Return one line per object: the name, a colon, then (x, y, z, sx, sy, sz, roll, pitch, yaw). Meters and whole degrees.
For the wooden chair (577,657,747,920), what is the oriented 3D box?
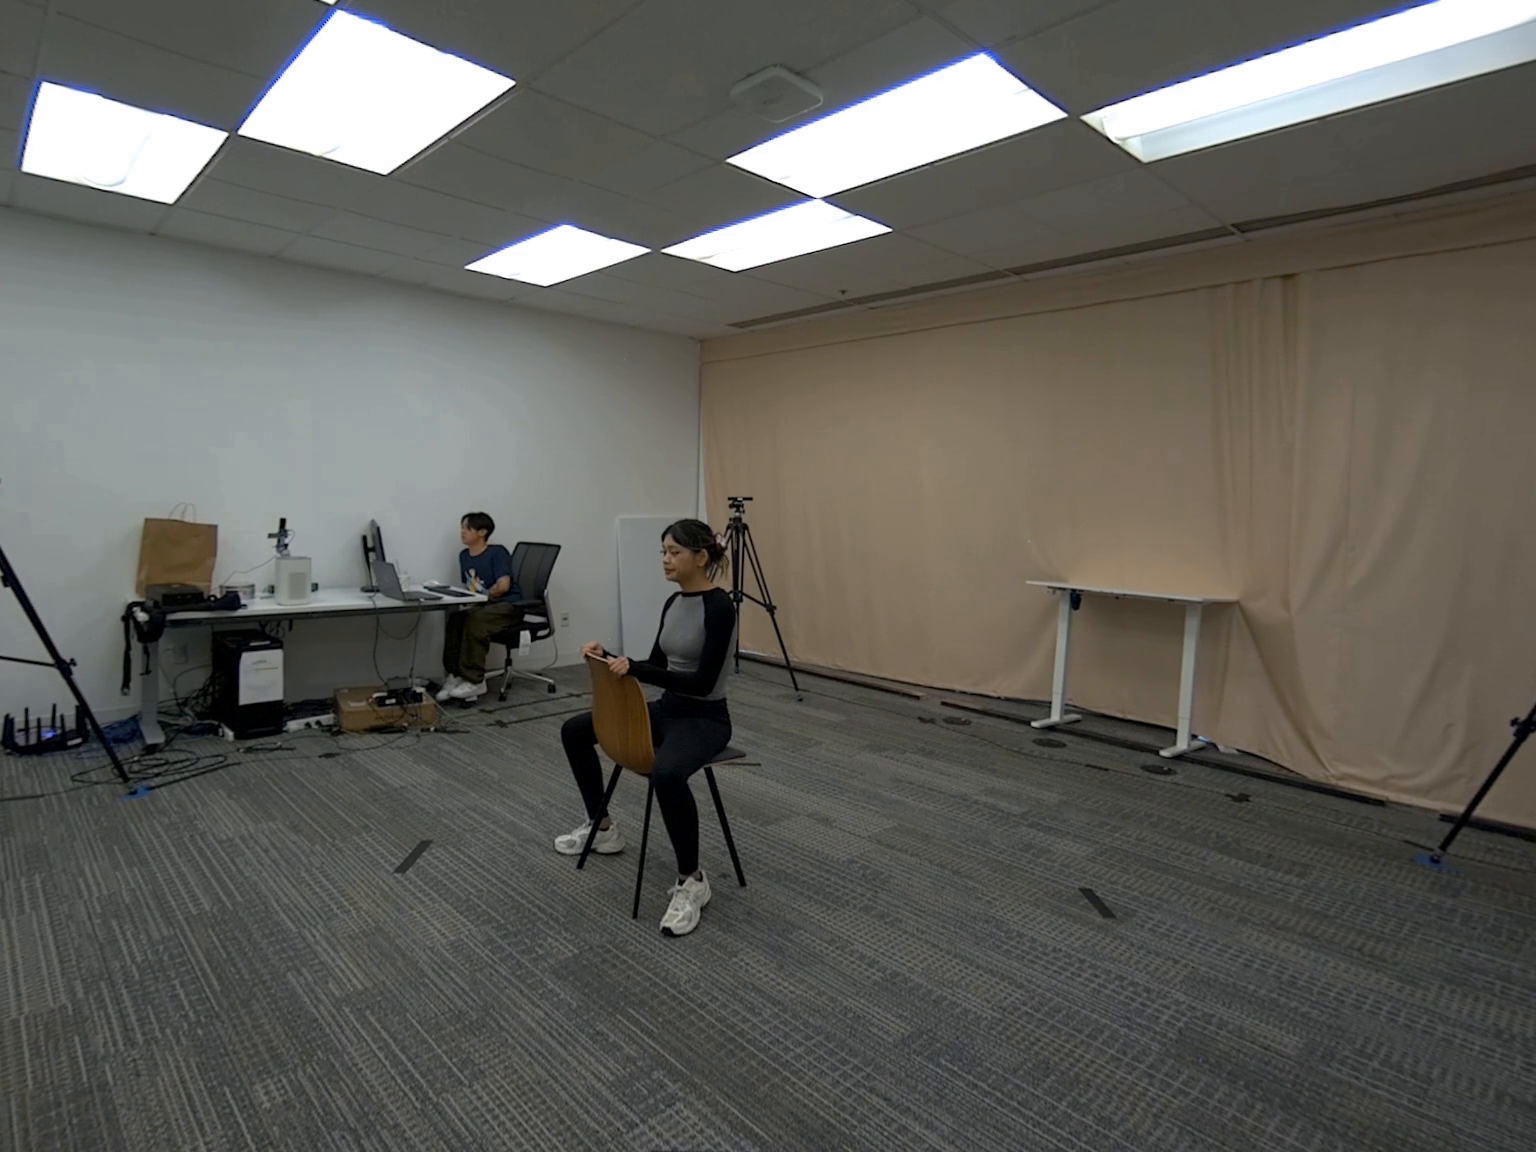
wooden chair: (-0.381, 0.680, 3.057, 0.513, 0.873, 0.490, -7, 8, -35)
